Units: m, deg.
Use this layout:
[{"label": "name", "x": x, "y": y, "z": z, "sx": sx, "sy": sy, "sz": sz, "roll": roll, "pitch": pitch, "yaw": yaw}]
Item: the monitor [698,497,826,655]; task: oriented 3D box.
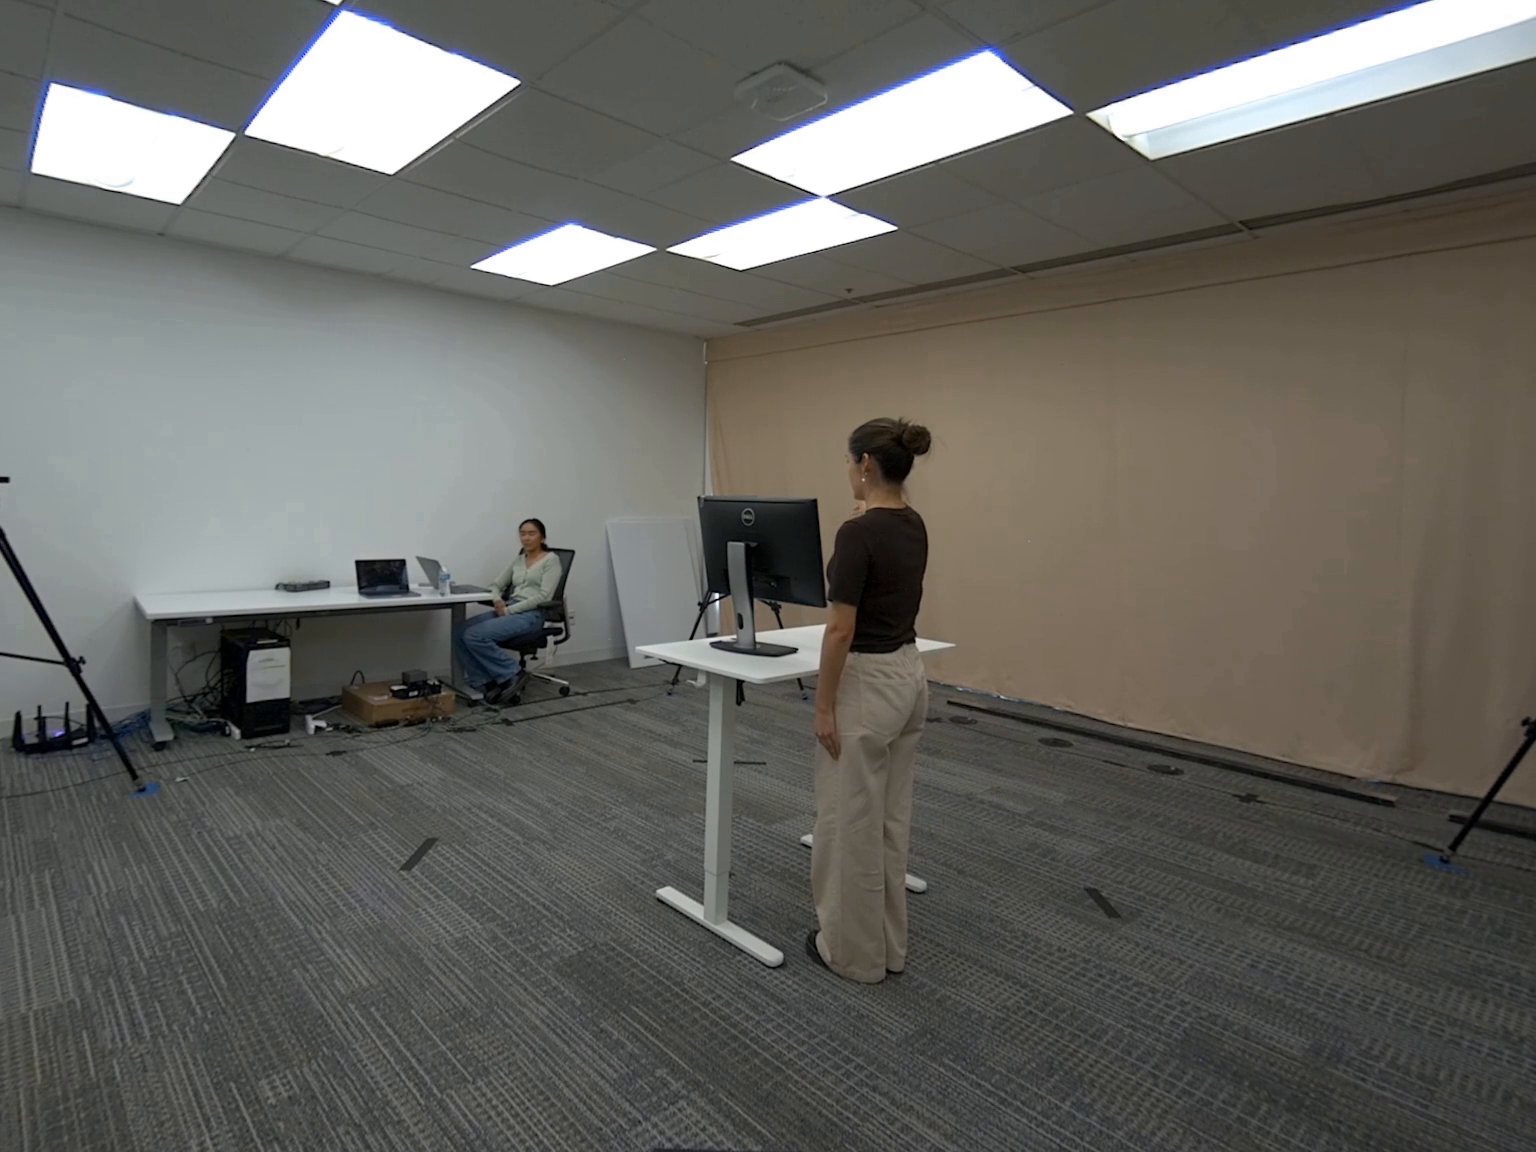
[{"label": "monitor", "x": -0.051, "y": -0.002, "z": 2.806, "sx": 0.182, "sy": 0.522, "sz": 0.553, "roll": 3, "pitch": 3, "yaw": -43}]
